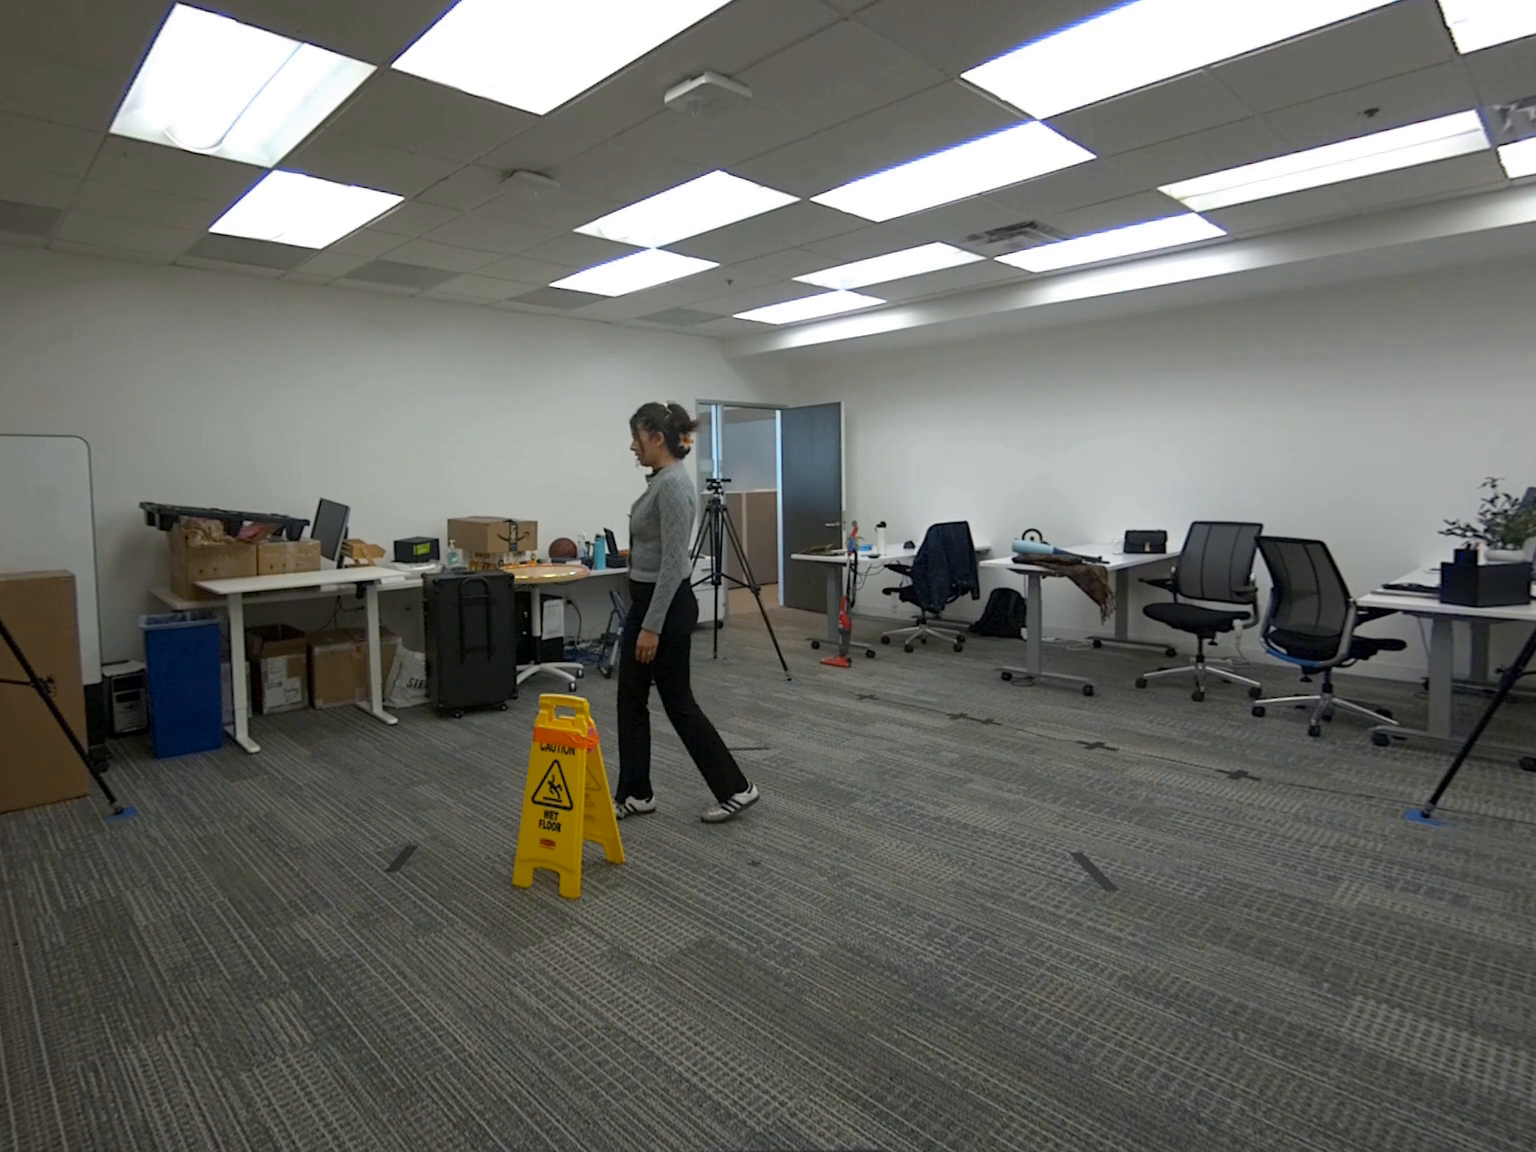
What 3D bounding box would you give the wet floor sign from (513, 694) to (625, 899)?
[{"bbox_3d":[-0.718,0.745,3.029,0.289,0.644,0.284,0,5,25],"label":"wet floor sign"}]
